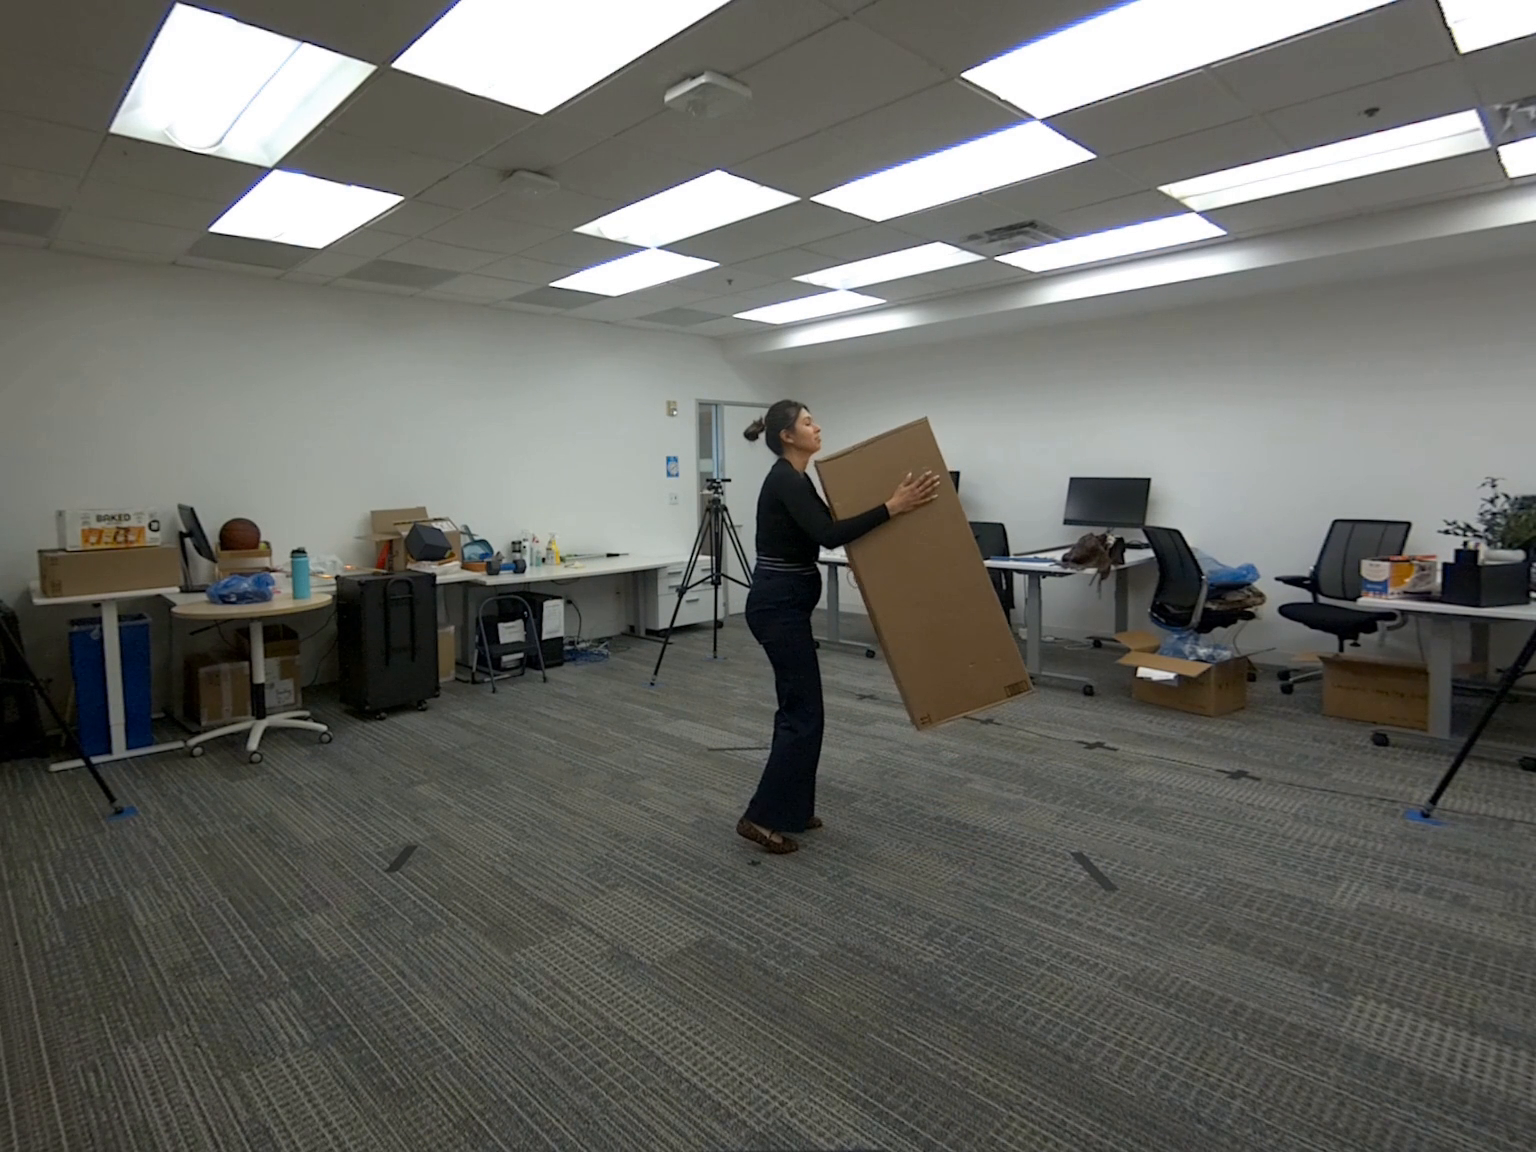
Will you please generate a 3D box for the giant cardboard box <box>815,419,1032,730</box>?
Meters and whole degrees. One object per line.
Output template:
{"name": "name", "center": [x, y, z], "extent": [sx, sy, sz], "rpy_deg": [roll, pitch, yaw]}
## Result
{"name": "giant cardboard box", "center": [0.562, -0.017, 3.265], "extent": [0.428, 1.029, 0.573], "rpy_deg": [-21, -2, 7]}
